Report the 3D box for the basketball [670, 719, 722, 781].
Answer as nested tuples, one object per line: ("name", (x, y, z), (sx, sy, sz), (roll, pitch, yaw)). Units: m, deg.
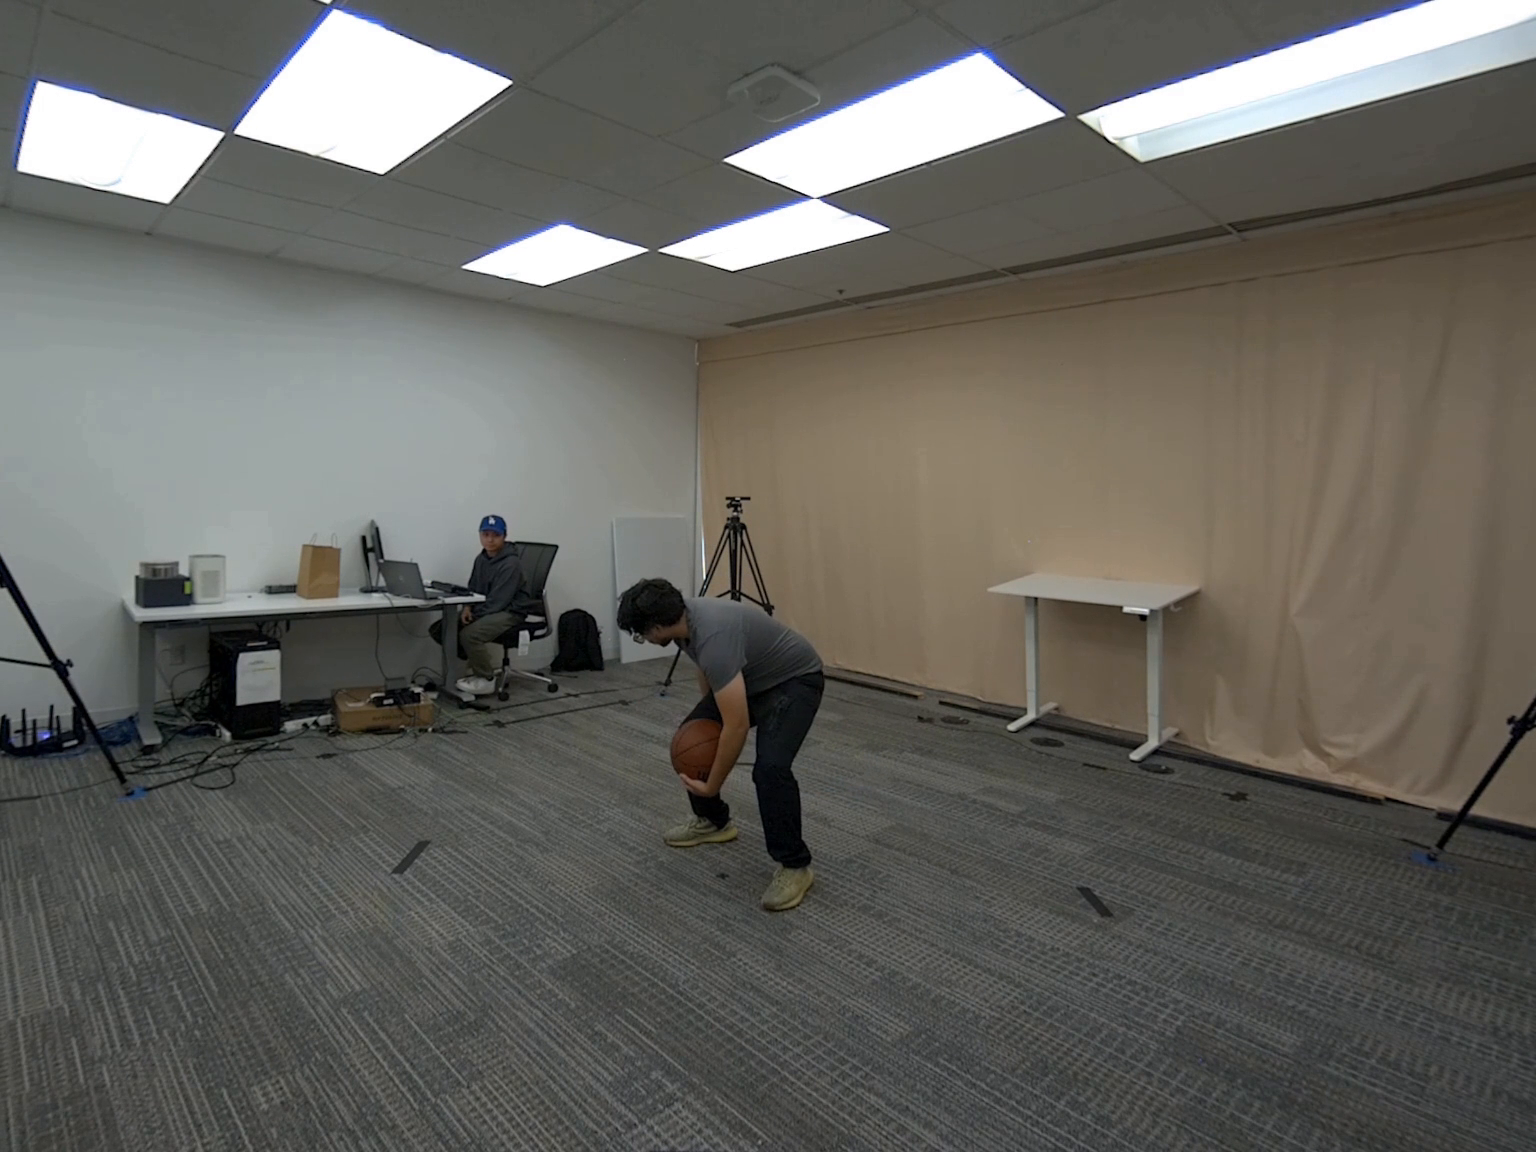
("basketball", (-0.243, 0.631, 3.062), (0.236, 0.235, 0.237), (1, 4, -1))
